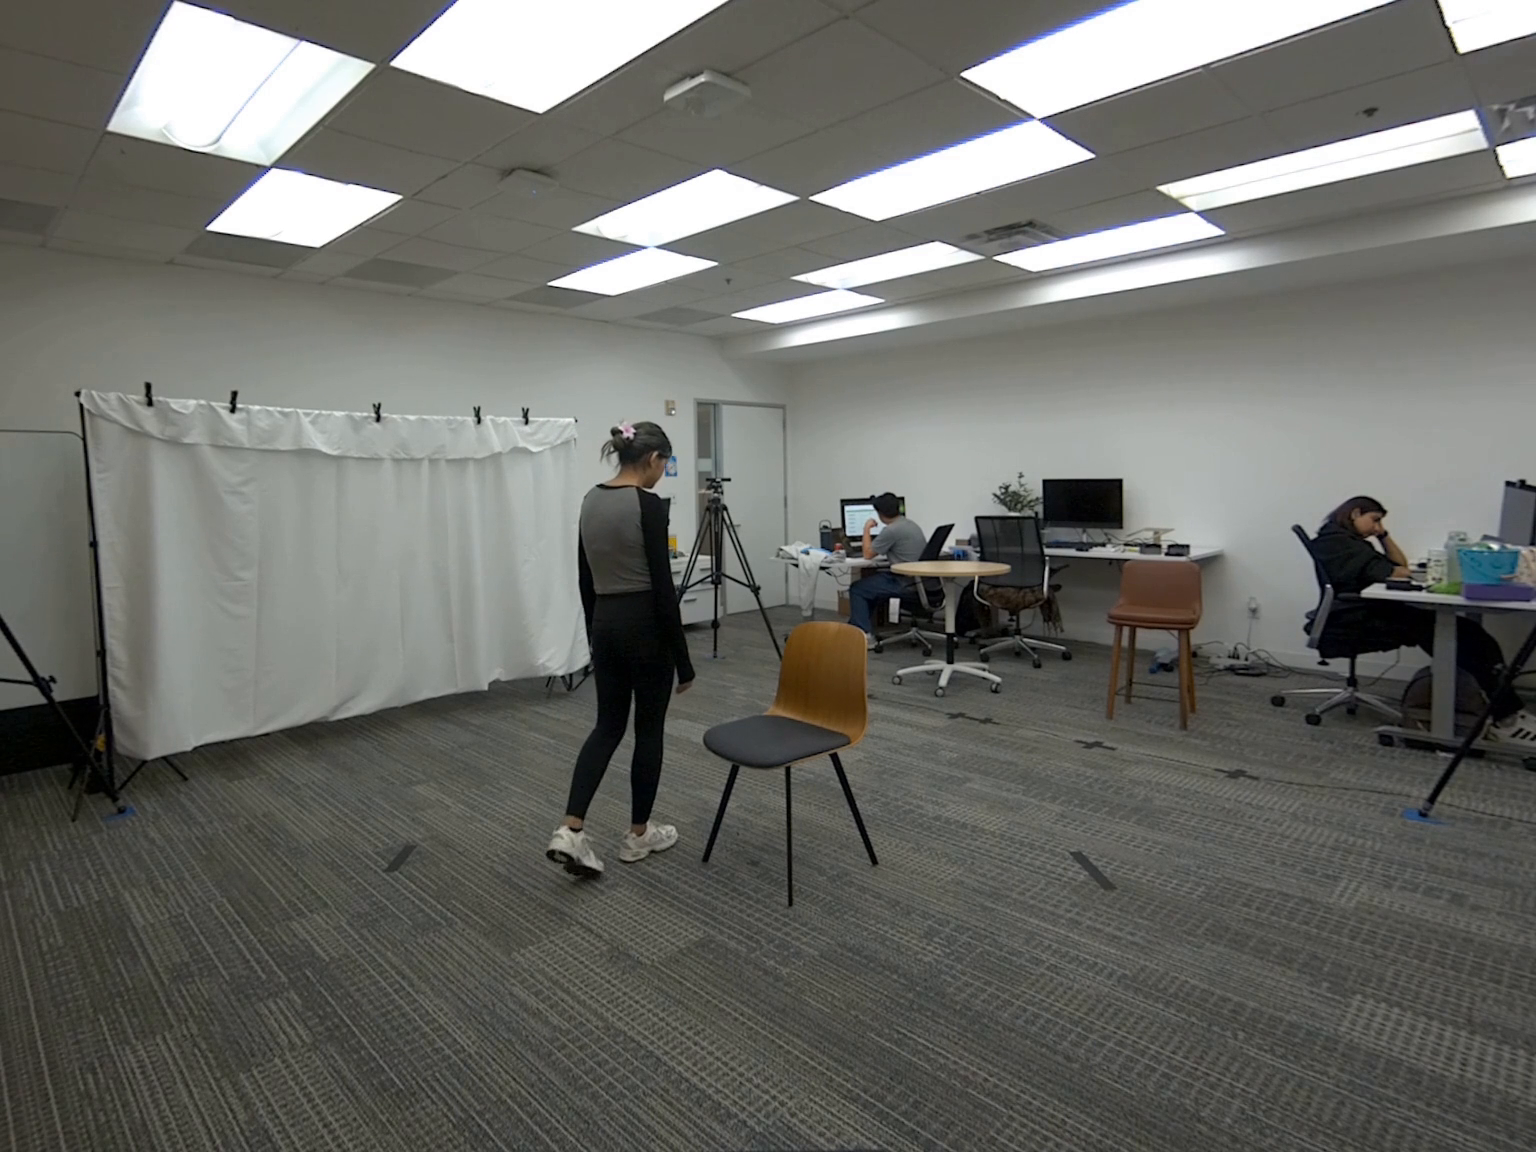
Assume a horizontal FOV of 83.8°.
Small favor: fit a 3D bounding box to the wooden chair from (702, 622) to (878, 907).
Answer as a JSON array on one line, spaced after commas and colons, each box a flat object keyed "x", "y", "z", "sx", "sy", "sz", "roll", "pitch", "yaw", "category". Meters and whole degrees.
[{"x": 0.068, "y": 0.615, "z": 3.053, "sx": 0.508, "sy": 0.876, "sz": 0.493, "roll": 1, "pitch": 2, "yaw": -42, "category": "wooden chair"}]
